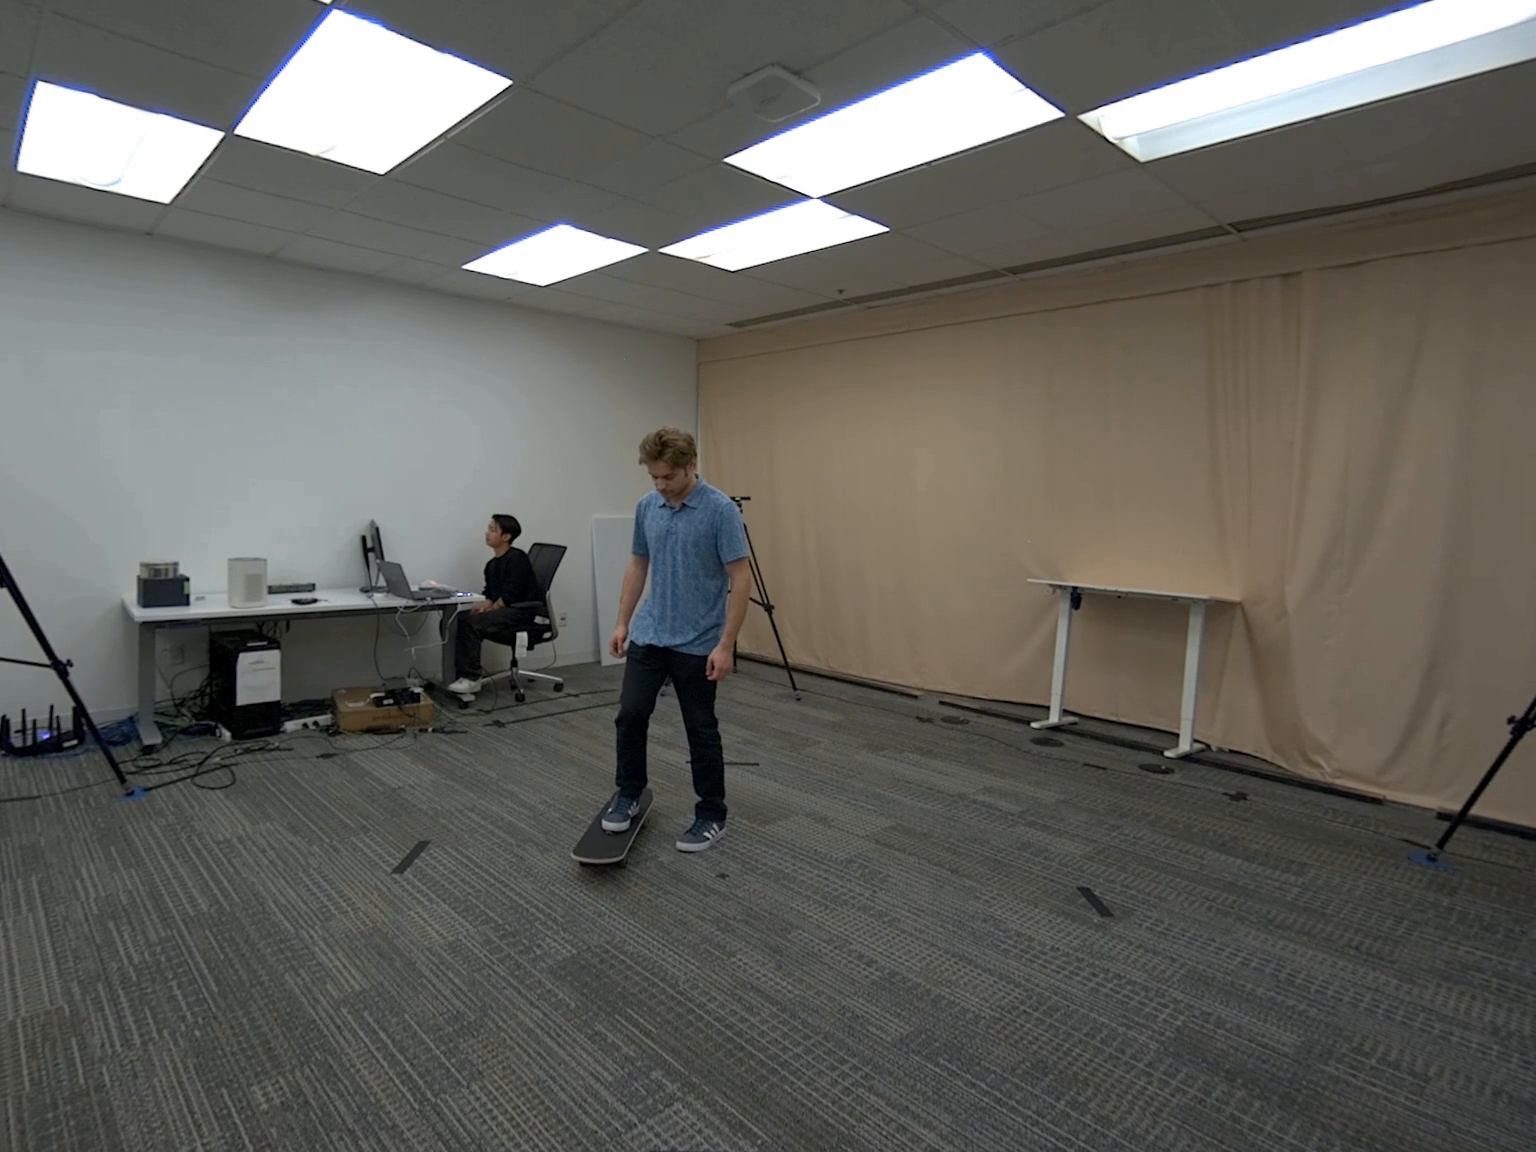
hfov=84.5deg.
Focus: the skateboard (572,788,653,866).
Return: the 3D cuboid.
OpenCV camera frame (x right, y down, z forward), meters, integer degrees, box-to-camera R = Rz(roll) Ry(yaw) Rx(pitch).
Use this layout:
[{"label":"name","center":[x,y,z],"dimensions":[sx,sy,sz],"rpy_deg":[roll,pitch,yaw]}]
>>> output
[{"label":"skateboard","center":[-0.606,1.014,3.356],"dimensions":[0.194,0.110,0.785],"rpy_deg":[3,5,2]}]
